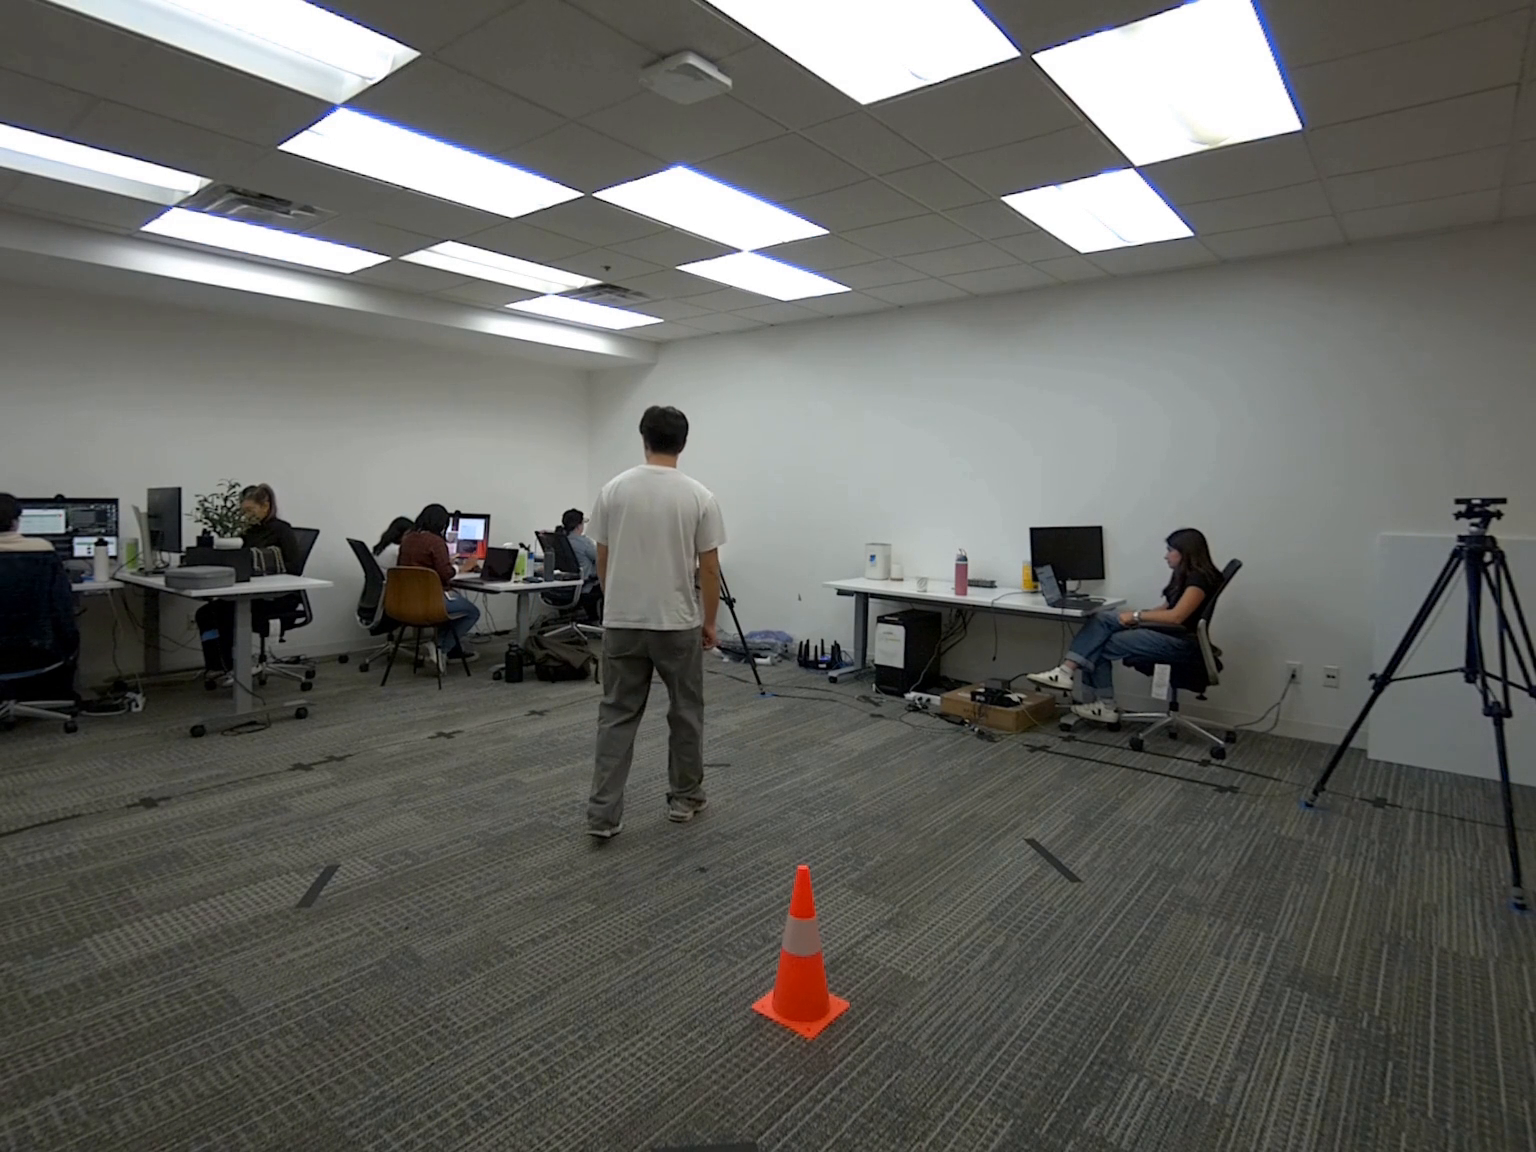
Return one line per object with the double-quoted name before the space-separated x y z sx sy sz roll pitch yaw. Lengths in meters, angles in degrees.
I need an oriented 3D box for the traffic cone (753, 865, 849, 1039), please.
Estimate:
"traffic cone" 0.093 0.970 2.281 0.212 0.382 0.197 5 6 42
